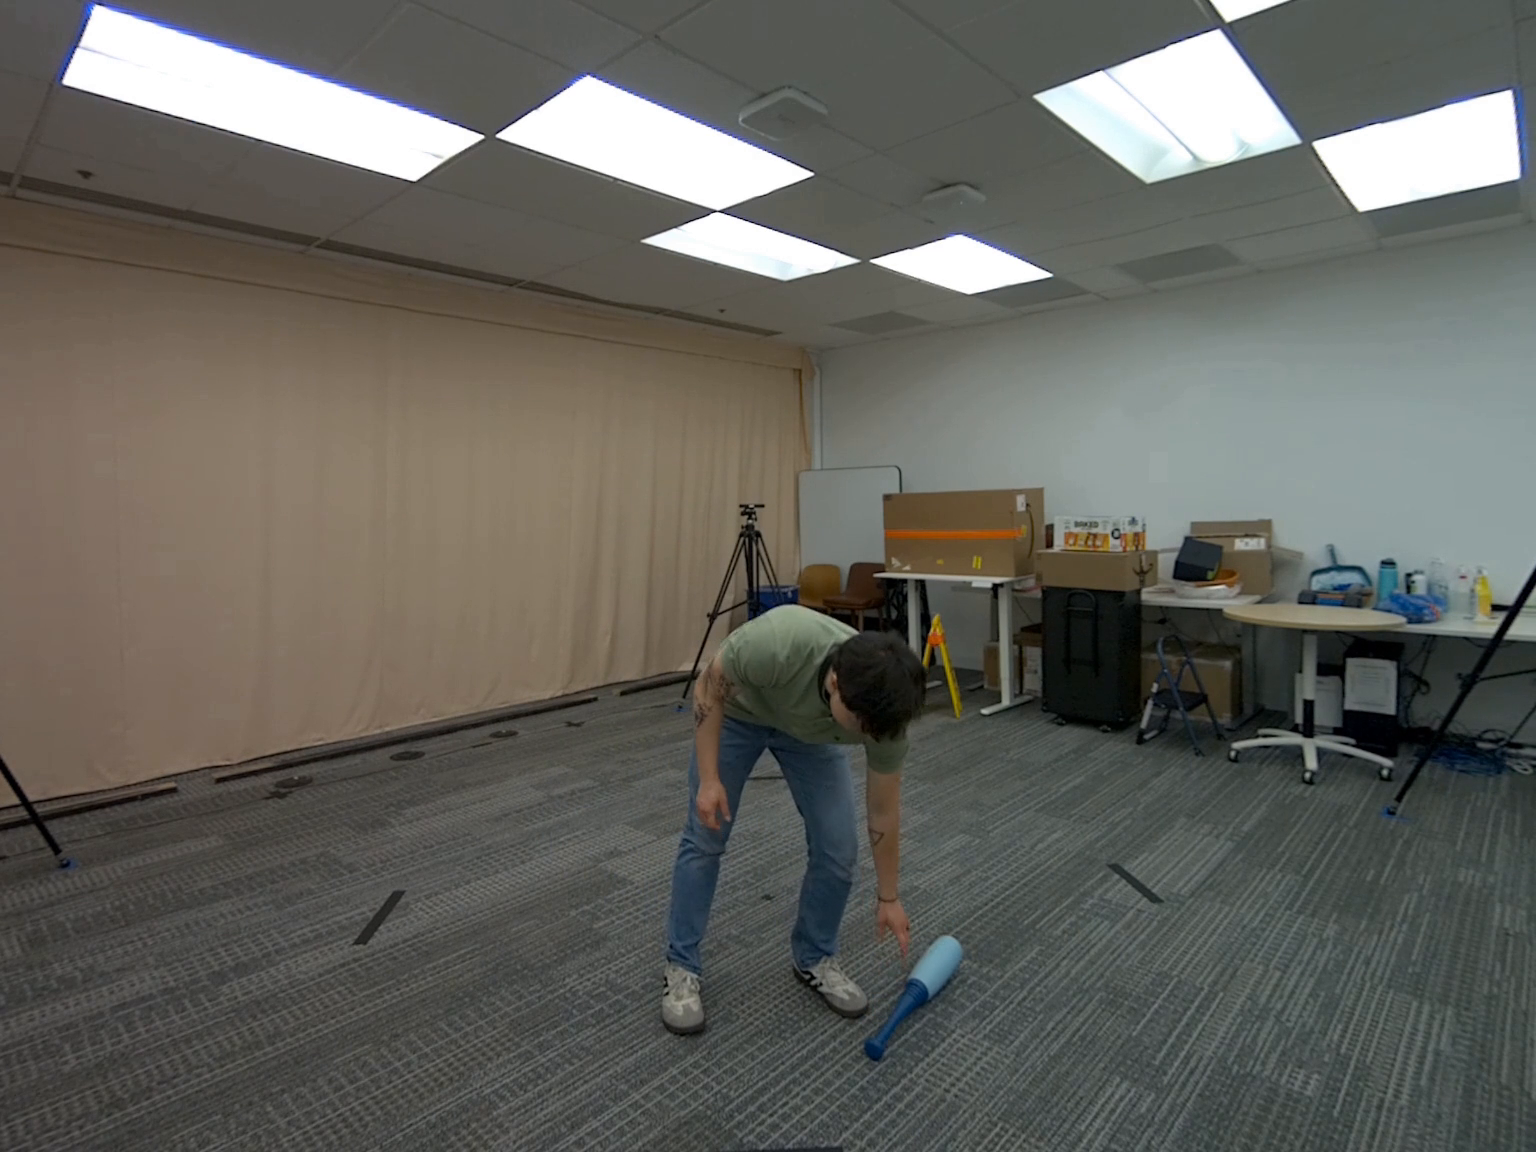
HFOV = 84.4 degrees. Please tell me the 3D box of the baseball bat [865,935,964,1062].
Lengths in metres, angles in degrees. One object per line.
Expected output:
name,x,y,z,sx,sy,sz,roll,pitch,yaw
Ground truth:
baseball bat,0.408,1.153,2.313,0.092,0.089,0.528,2,8,35
